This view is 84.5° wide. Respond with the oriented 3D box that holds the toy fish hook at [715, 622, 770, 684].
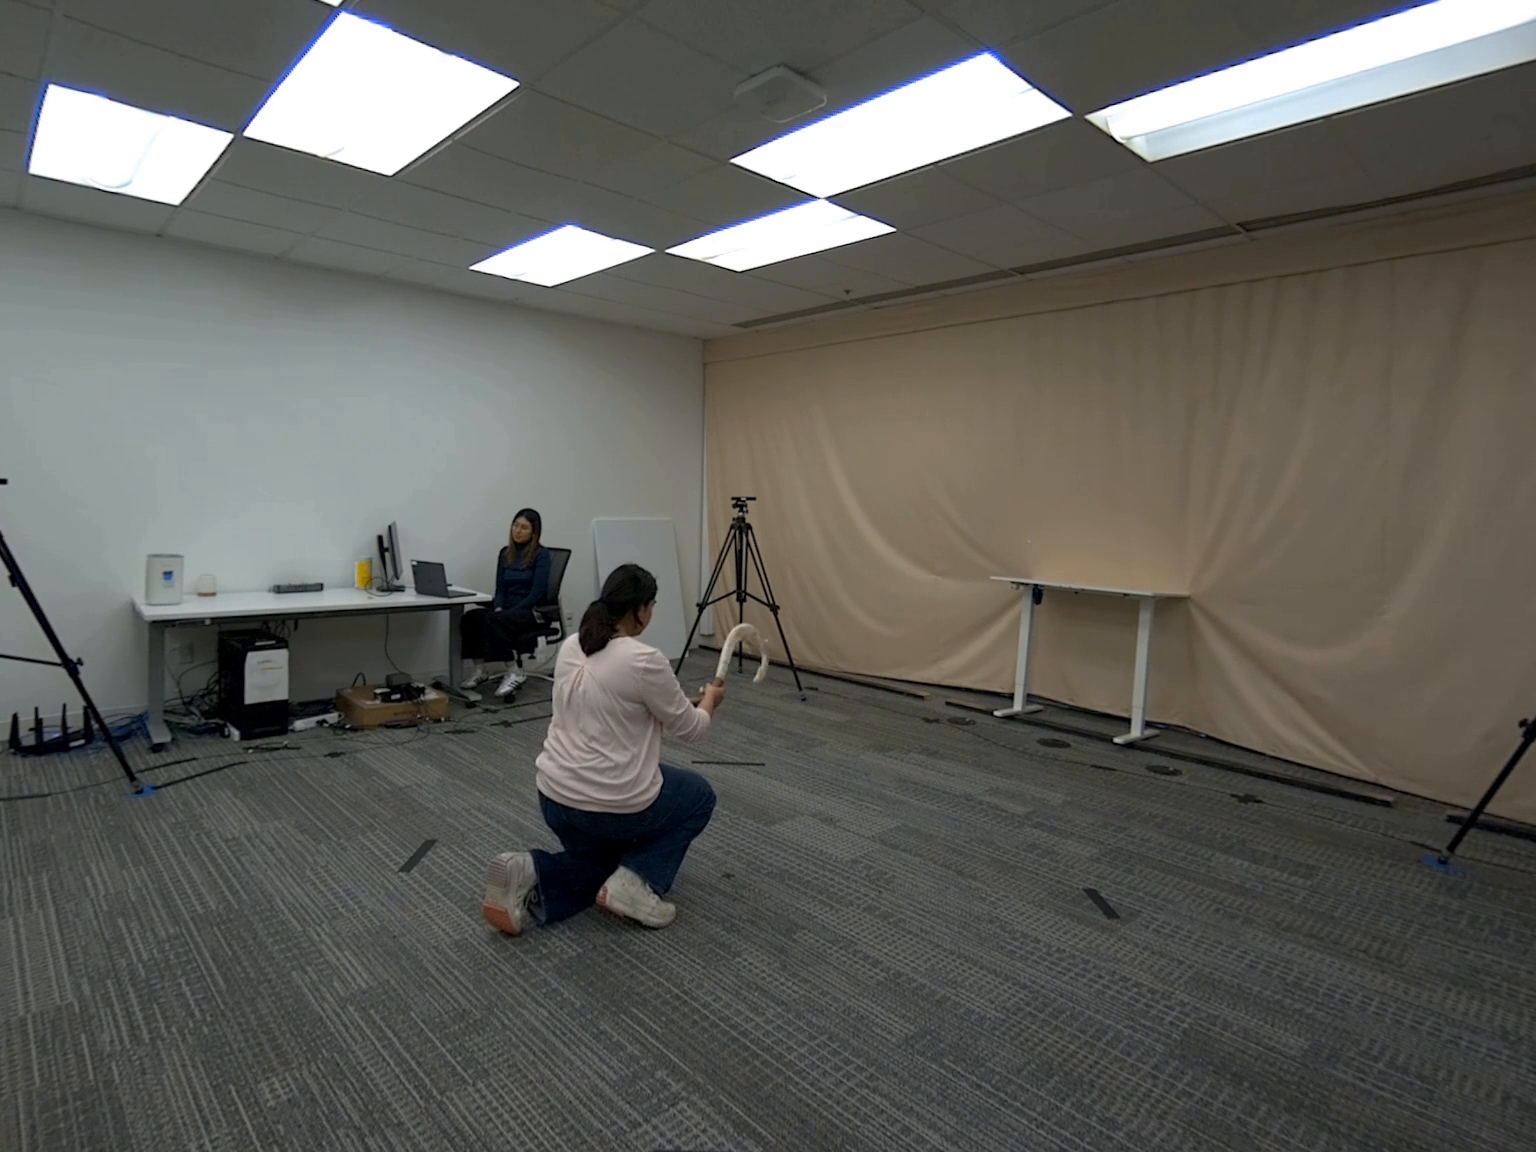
[{"bbox_3d":[-0.138,0.383,3.251,0.049,0.222,0.509,-32,19,48],"label":"toy fish hook"}]
